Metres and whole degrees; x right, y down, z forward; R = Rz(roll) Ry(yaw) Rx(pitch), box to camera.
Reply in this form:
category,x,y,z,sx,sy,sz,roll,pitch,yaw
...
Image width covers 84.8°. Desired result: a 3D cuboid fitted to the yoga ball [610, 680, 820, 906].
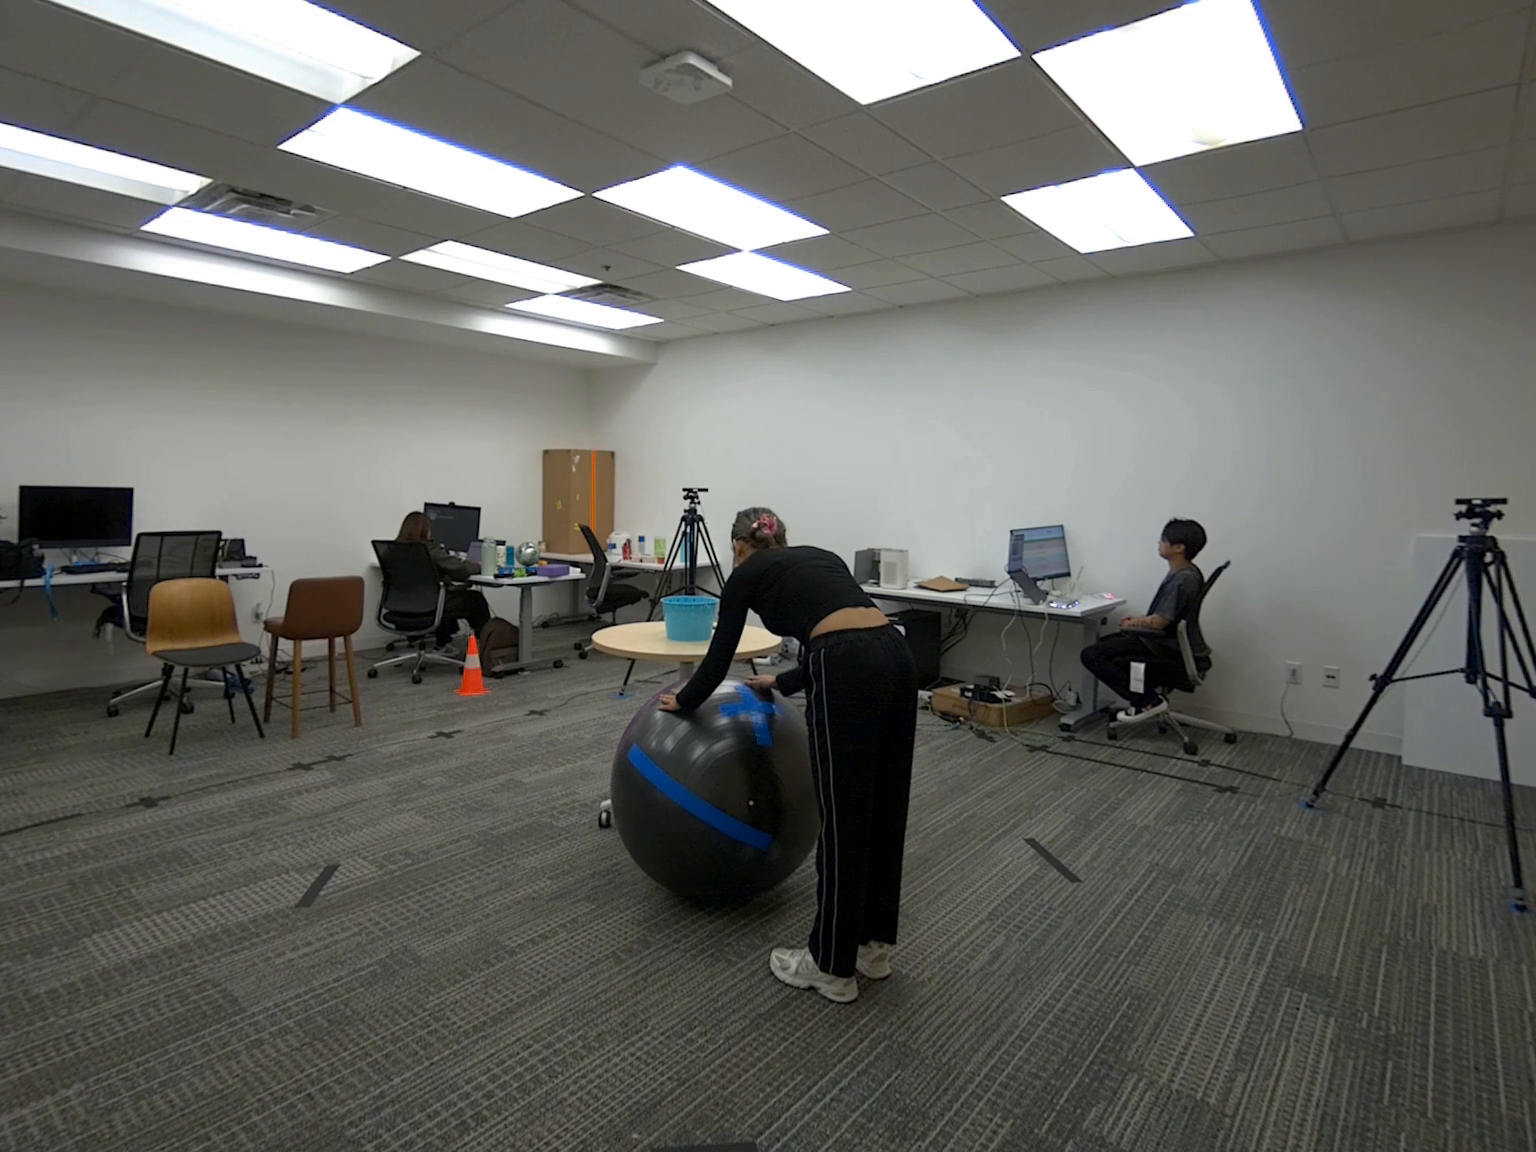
category,x,y,z,sx,sy,sz,roll,pitch,yaw
yoga ball,-0.176,0.725,2.944,0.757,0.756,0.762,1,4,-2
